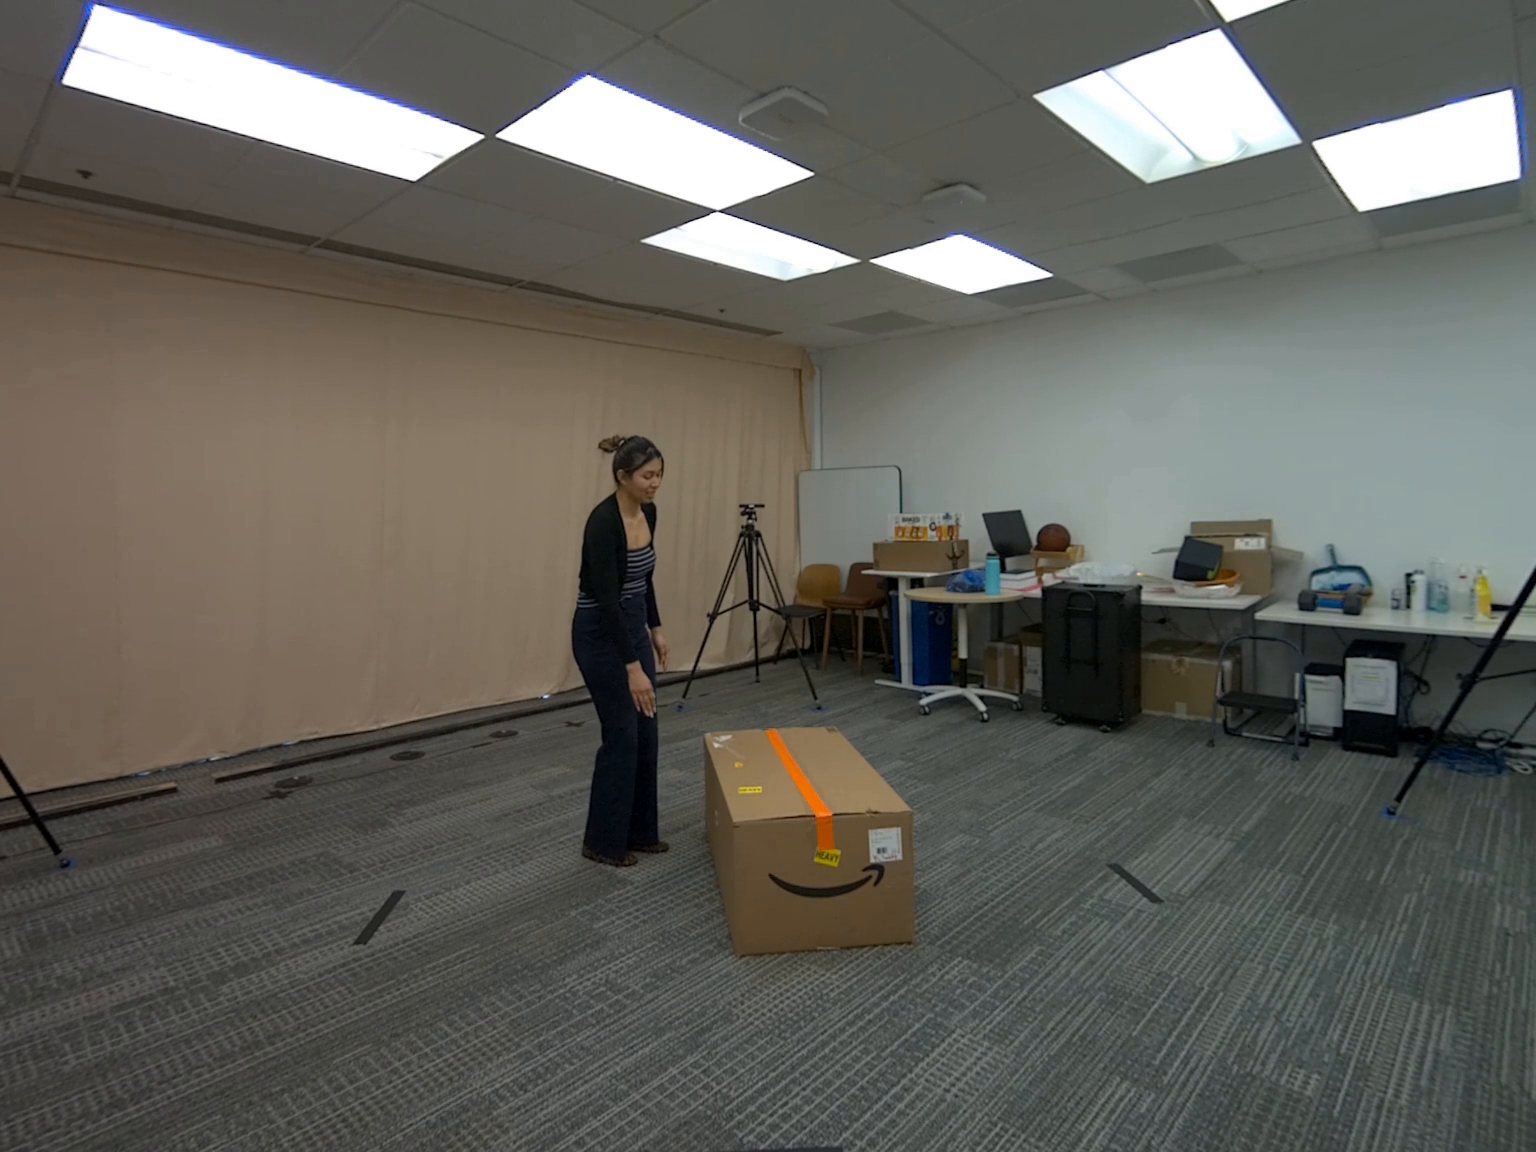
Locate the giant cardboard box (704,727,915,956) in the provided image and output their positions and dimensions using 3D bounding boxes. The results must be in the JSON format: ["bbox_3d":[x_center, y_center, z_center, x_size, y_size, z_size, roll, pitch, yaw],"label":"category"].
[{"bbox_3d":[0.101,0.908,3.114,0.573,0.425,1.037,-2,5,-9],"label":"giant cardboard box"}]
